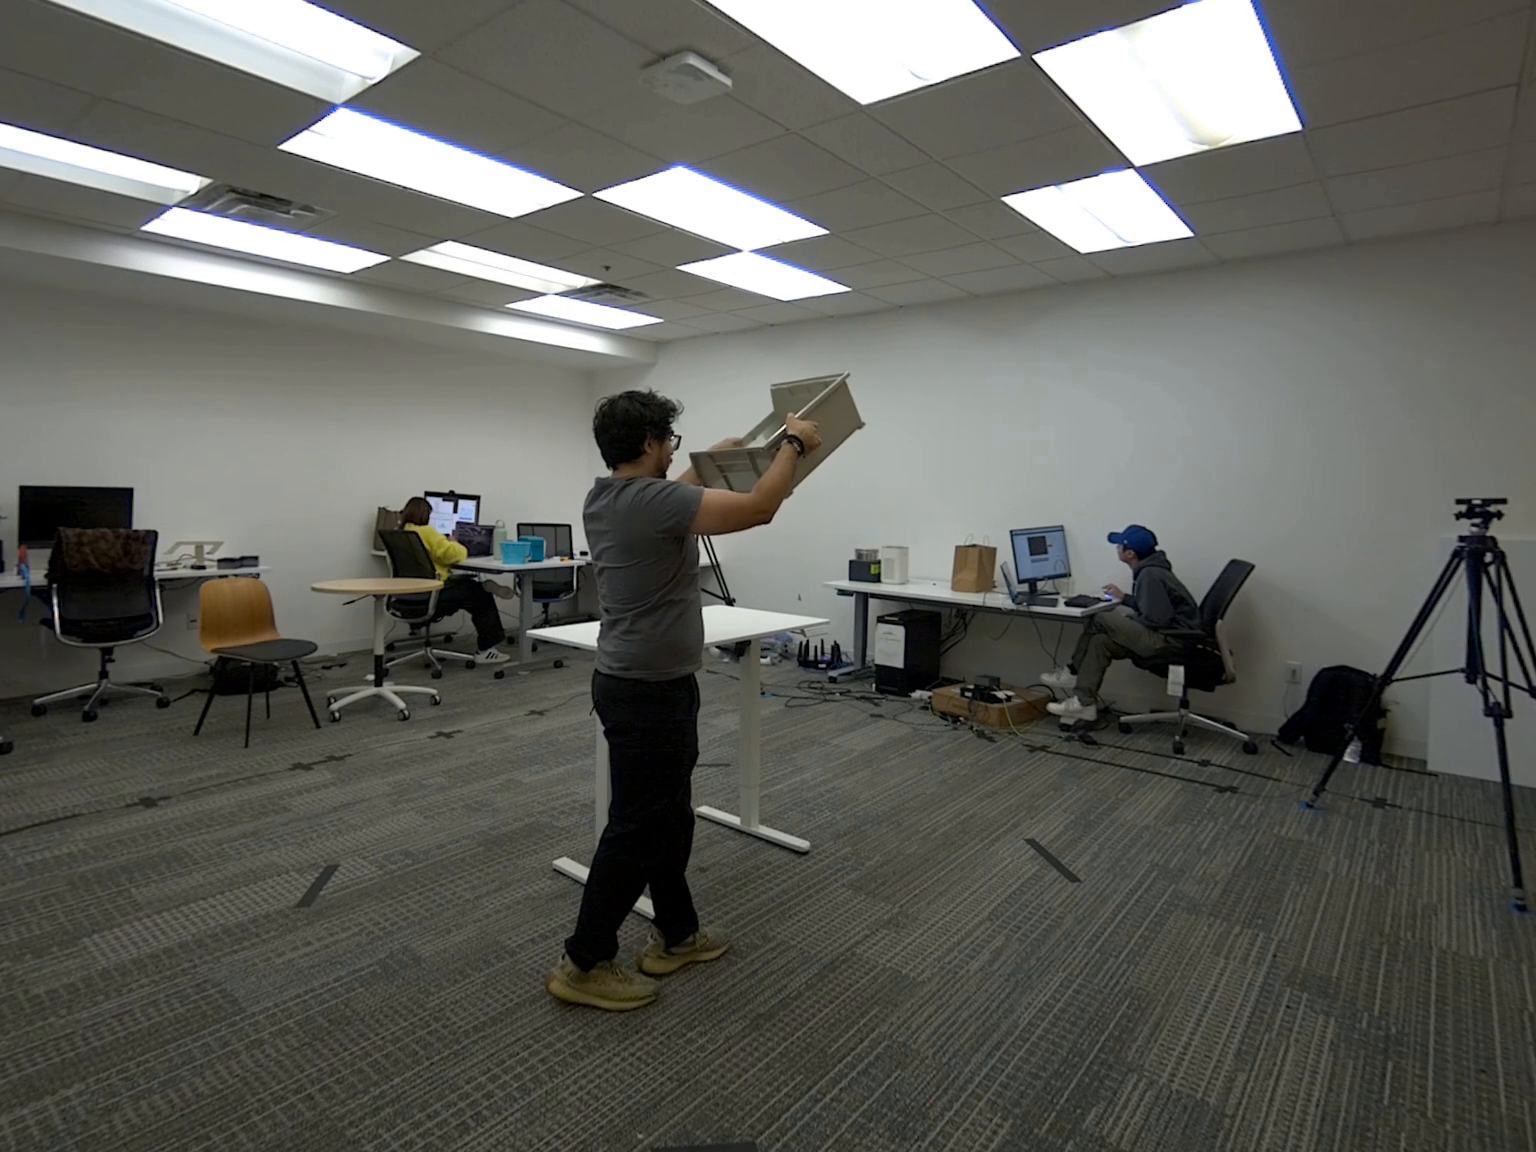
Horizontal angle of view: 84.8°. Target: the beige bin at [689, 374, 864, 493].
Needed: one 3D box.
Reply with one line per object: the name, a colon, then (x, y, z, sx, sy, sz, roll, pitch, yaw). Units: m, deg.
beige bin: (0.016, -0.426, 2.626, 0.390, 0.183, 0.421, 6, 41, 48)
